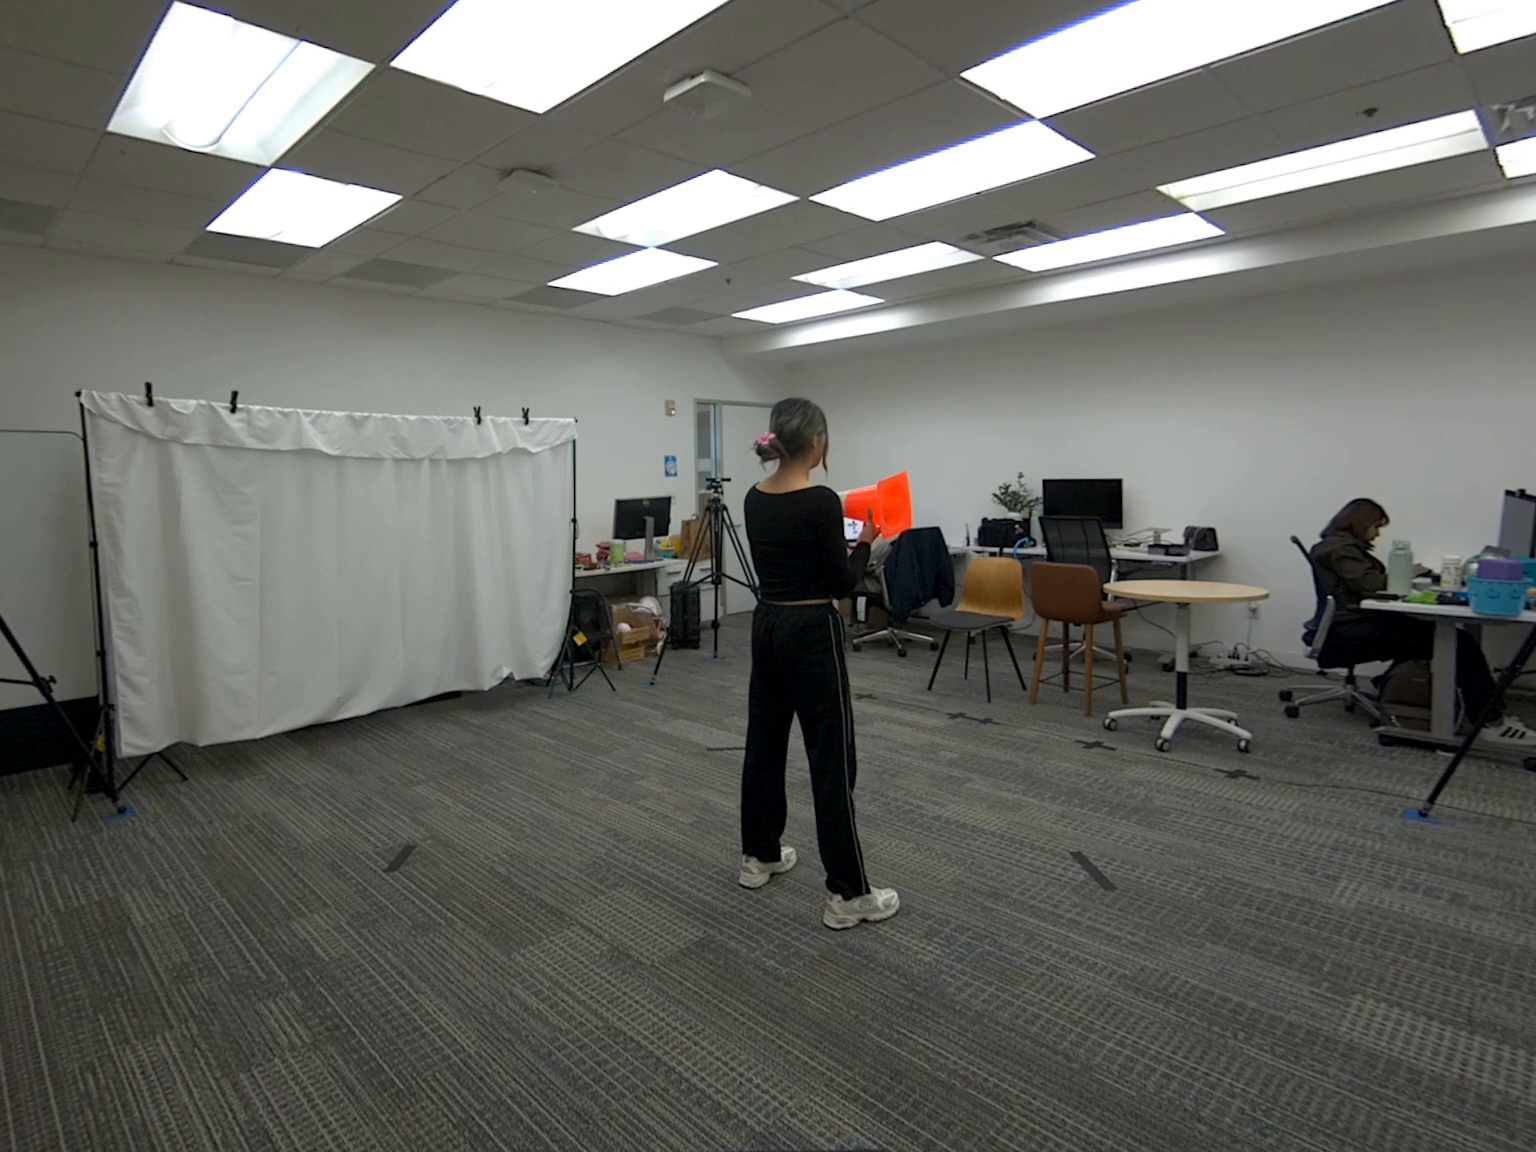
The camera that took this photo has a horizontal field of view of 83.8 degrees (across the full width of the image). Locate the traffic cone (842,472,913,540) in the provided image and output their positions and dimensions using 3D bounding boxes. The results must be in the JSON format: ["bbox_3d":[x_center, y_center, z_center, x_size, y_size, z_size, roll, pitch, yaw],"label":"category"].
[{"bbox_3d":[0.284,-0.252,2.989,0.396,0.202,0.200,6,20,41],"label":"traffic cone"}]
